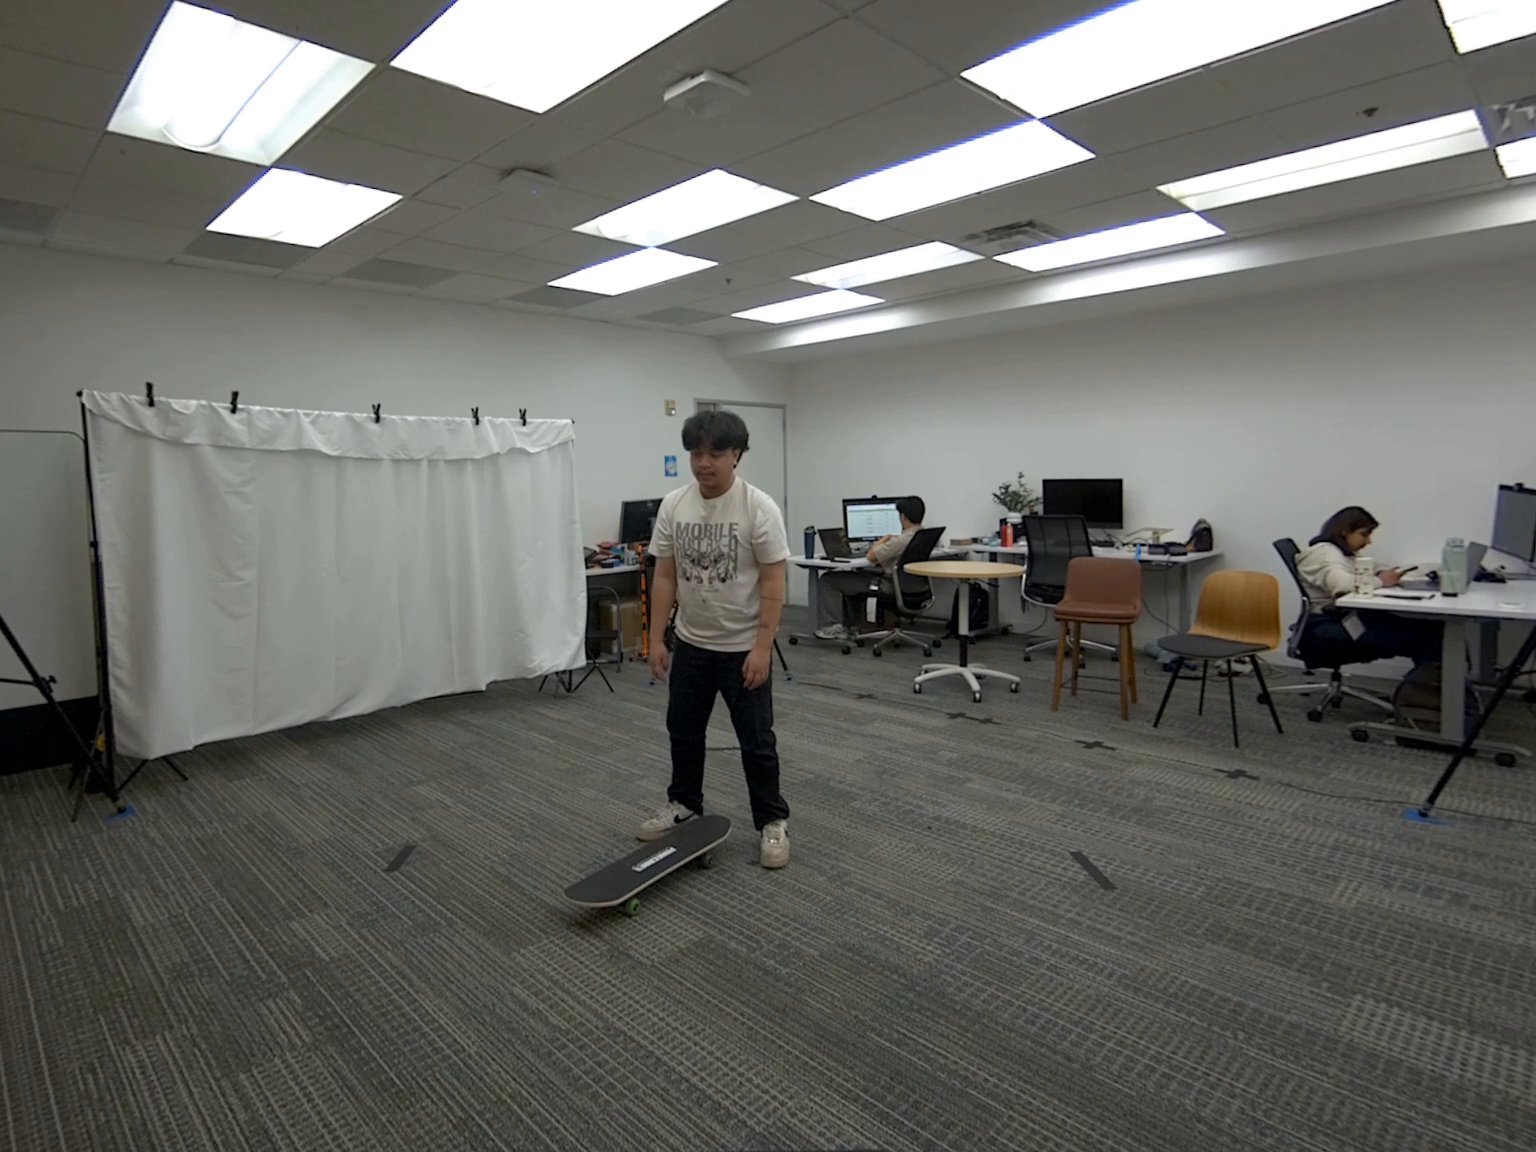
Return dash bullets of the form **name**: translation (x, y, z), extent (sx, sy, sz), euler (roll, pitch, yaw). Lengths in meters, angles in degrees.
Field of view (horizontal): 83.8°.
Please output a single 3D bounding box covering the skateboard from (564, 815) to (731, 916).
- **skateboard**: translation (-0.391, 1.010, 2.952), extent (0.199, 0.110, 0.767), euler (3, 7, 33)
